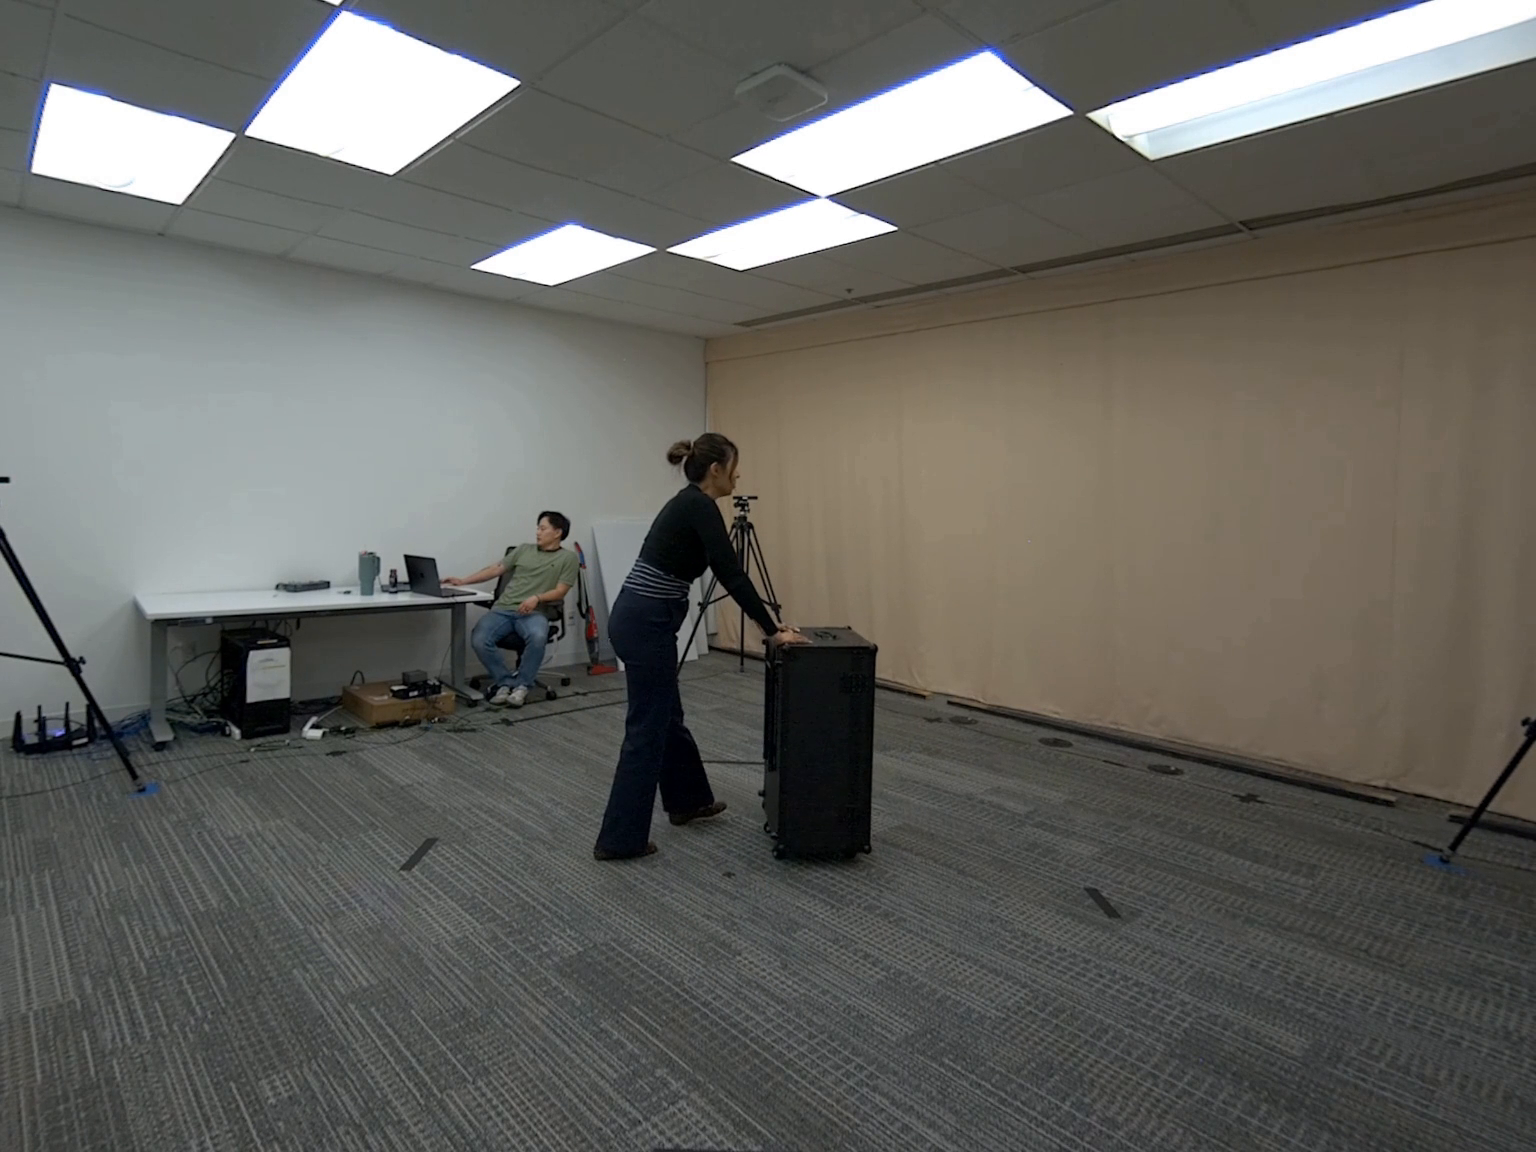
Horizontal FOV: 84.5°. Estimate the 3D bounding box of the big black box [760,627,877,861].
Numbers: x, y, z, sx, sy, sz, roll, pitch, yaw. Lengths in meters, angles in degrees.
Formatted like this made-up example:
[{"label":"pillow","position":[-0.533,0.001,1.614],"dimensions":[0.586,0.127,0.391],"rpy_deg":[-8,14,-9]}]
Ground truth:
[{"label":"big black box","position":[0.173,0.658,3.357],"dimensions":[0.395,0.859,0.525],"rpy_deg":[1,4,-6]}]
